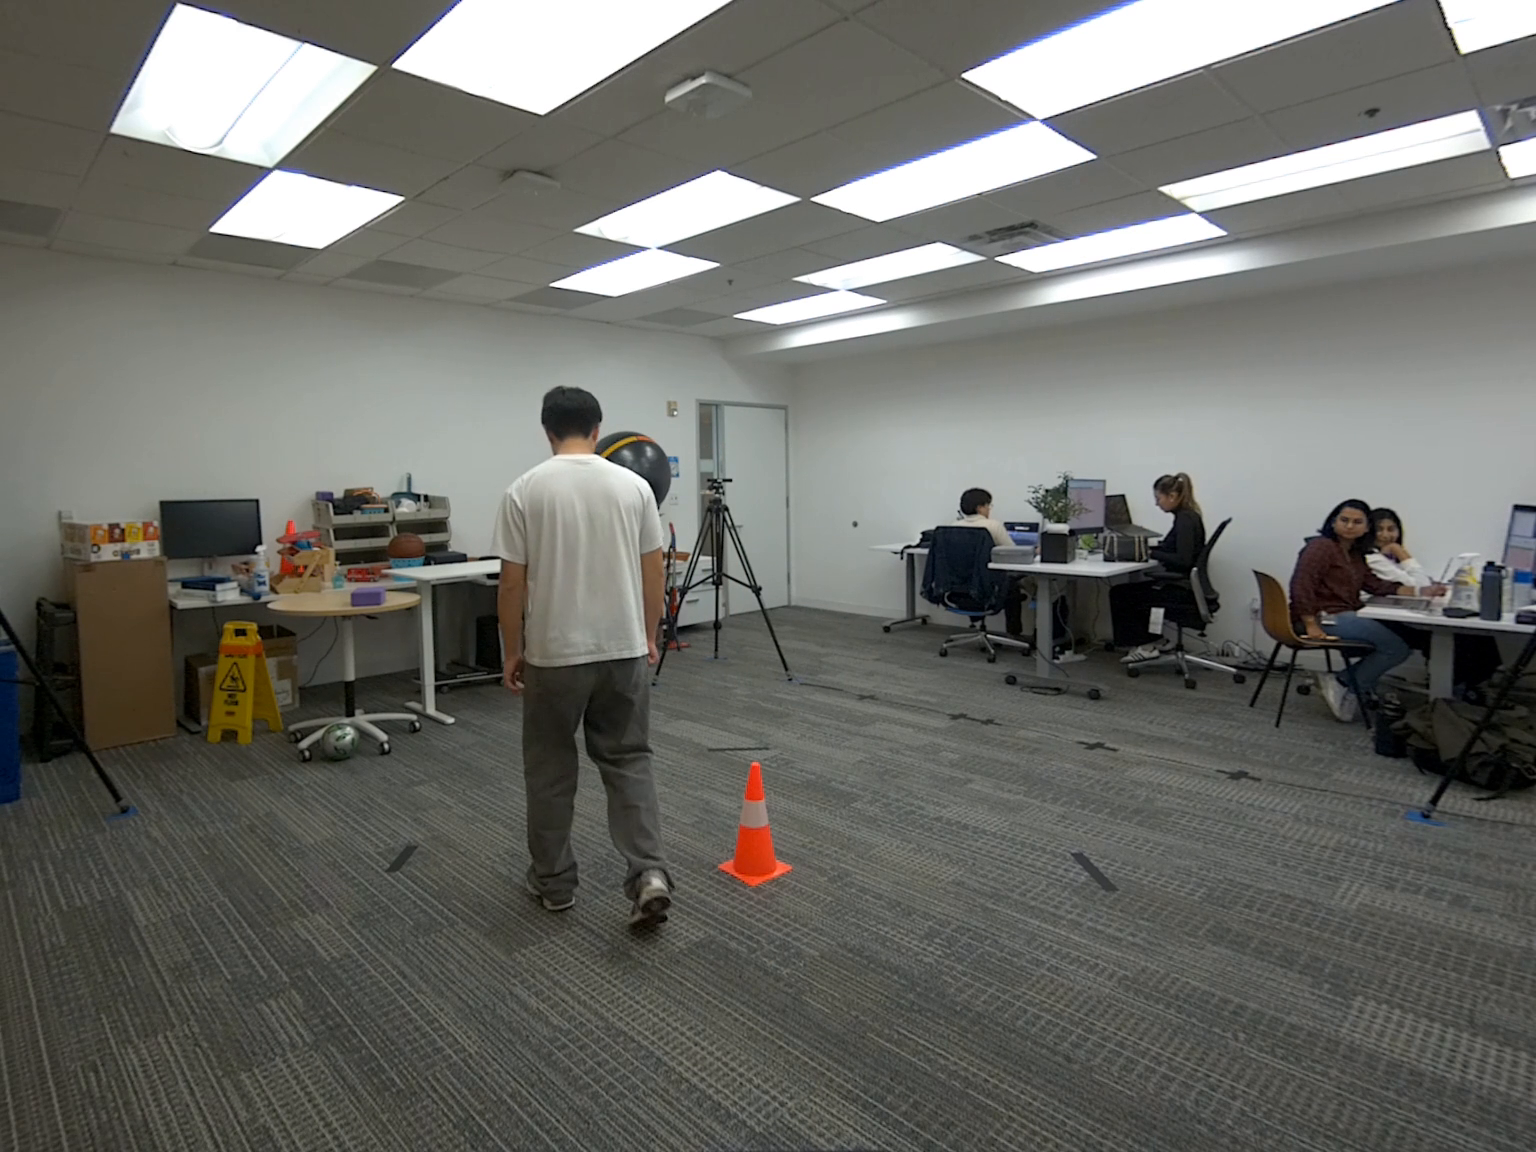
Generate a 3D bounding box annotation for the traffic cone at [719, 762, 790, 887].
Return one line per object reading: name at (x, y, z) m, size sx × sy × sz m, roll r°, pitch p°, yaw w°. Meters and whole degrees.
traffic cone at (-0.045, 0.864, 3.070) m, size 0.198 × 0.383 × 0.211 m, roll -3°, pitch 4°, yaw -44°
